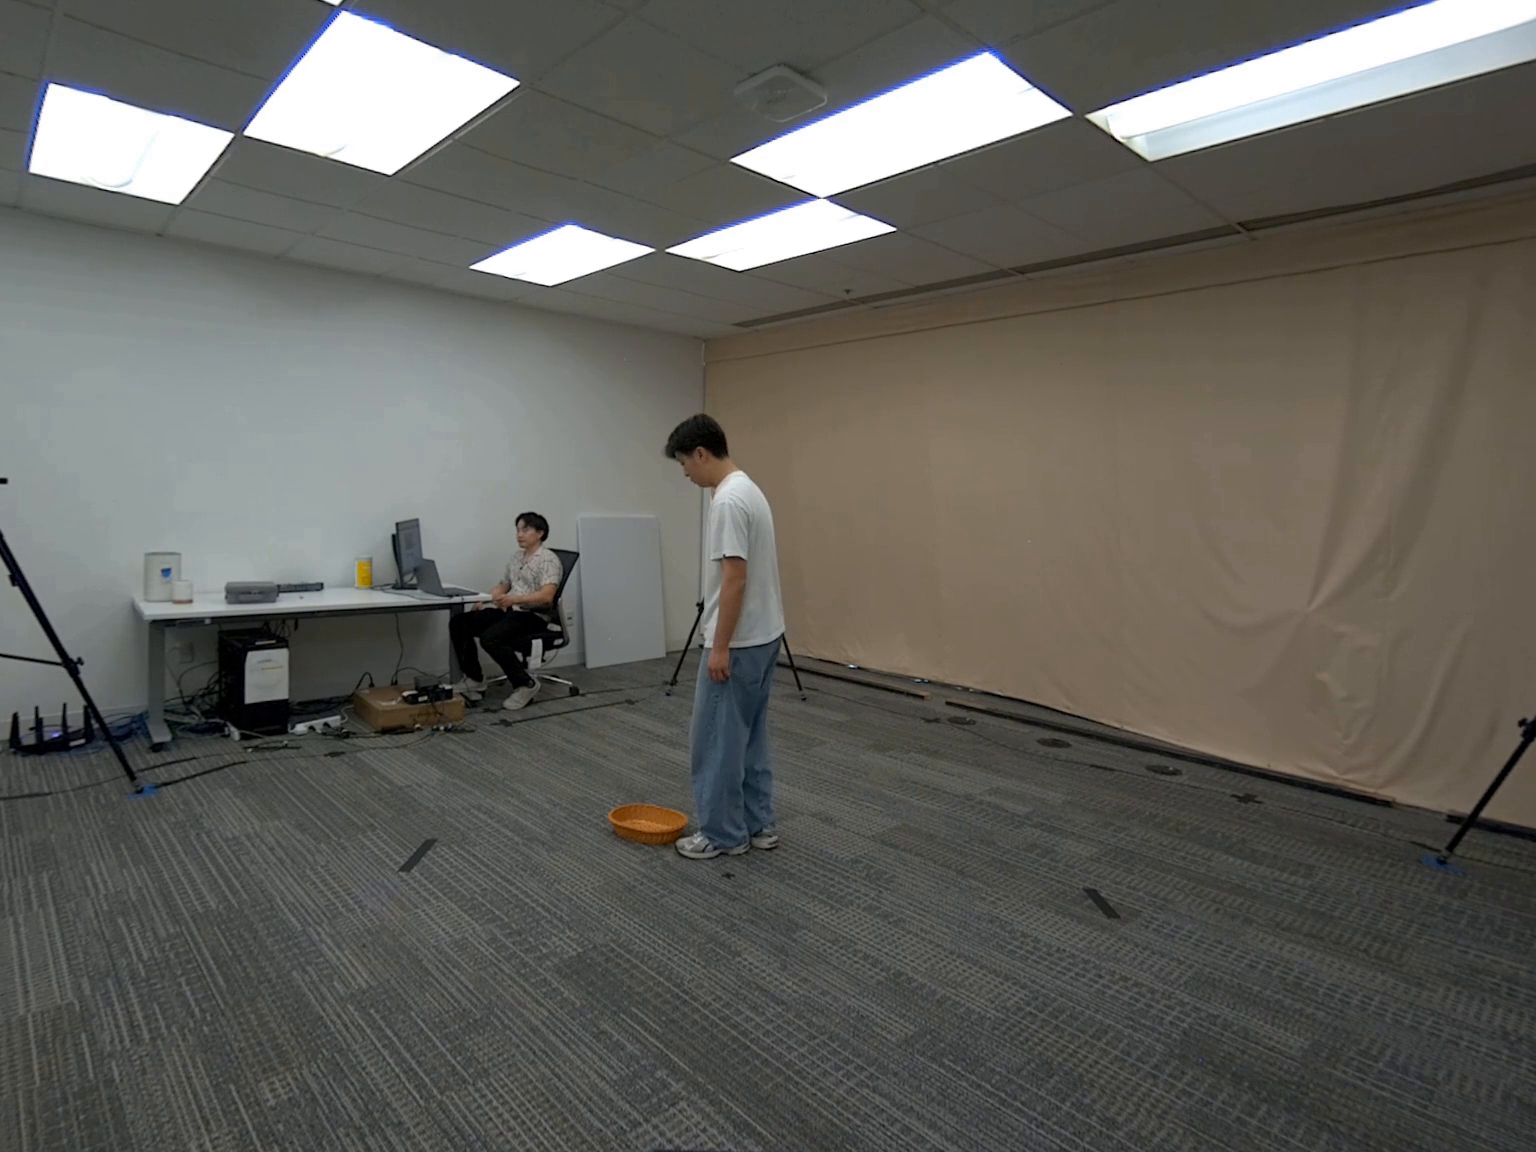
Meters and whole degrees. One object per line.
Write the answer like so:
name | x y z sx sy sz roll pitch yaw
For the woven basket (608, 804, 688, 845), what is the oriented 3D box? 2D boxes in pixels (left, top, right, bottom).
woven basket | -0.504 1.022 3.472 0.358 0.073 0.247 5 6 30
